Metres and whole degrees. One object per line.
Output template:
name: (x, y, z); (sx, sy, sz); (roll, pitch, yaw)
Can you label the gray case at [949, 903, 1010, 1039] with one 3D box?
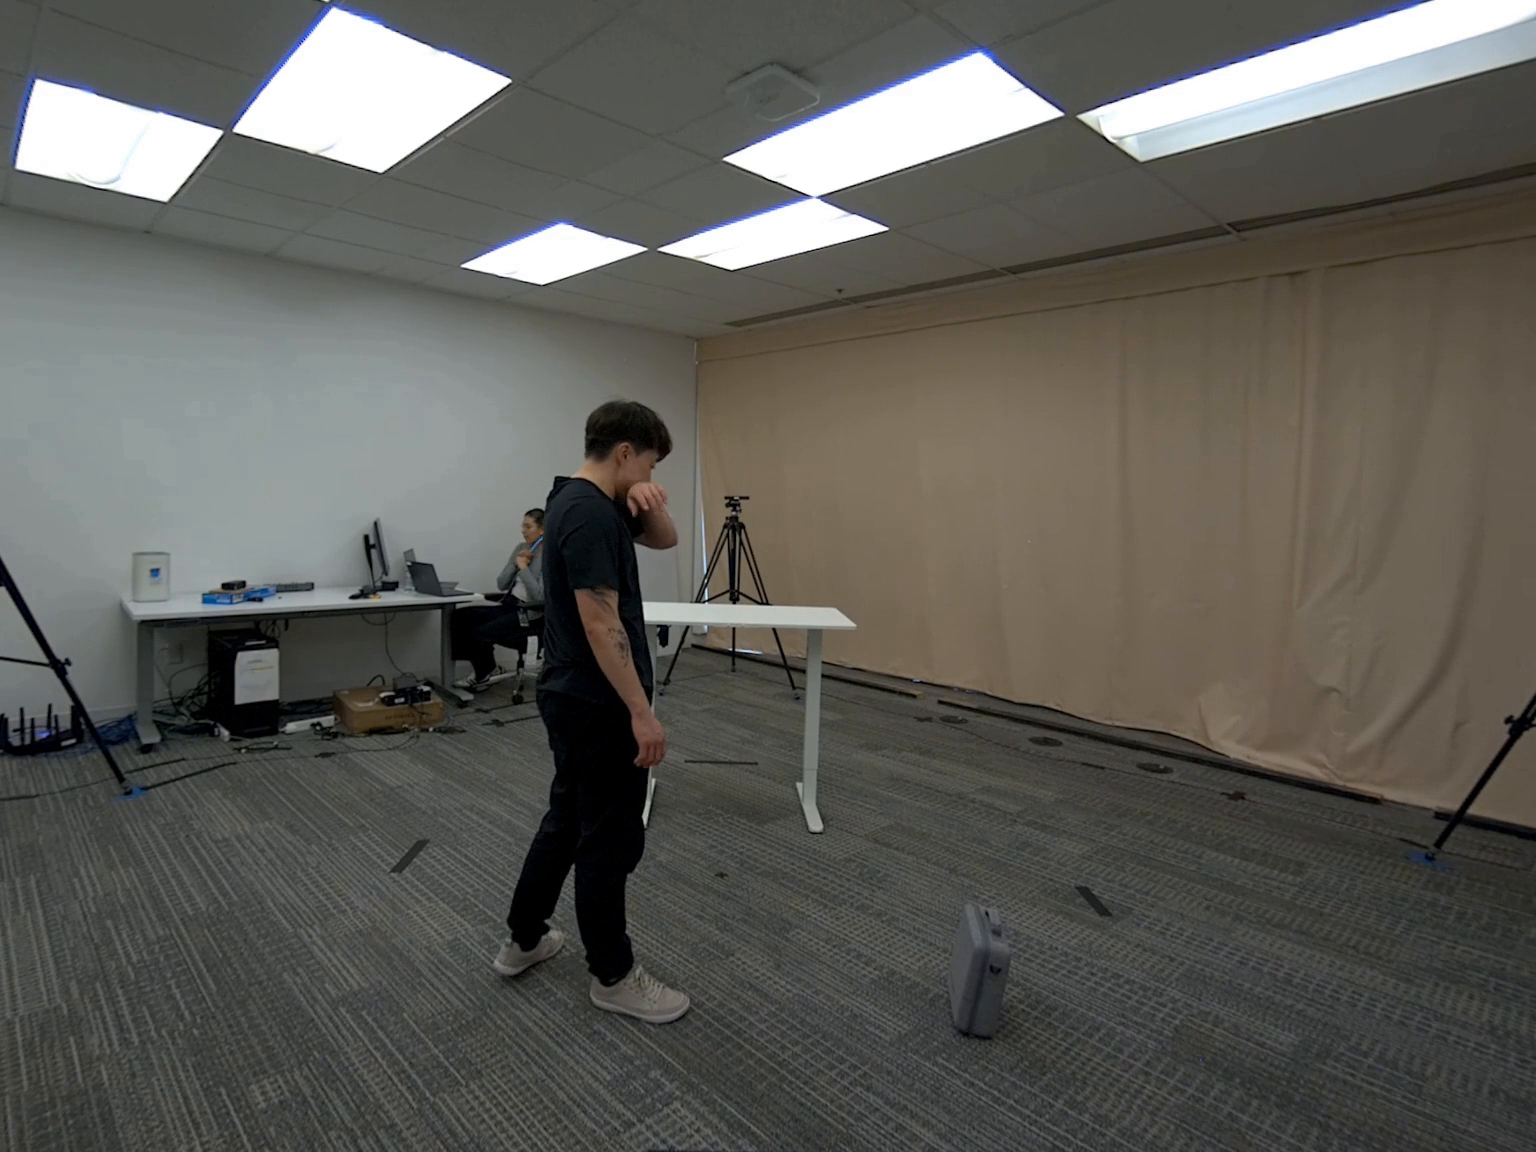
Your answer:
gray case: (0.567, 1.063, 2.294); (0.105, 0.260, 0.256); (11, 6, 7)
